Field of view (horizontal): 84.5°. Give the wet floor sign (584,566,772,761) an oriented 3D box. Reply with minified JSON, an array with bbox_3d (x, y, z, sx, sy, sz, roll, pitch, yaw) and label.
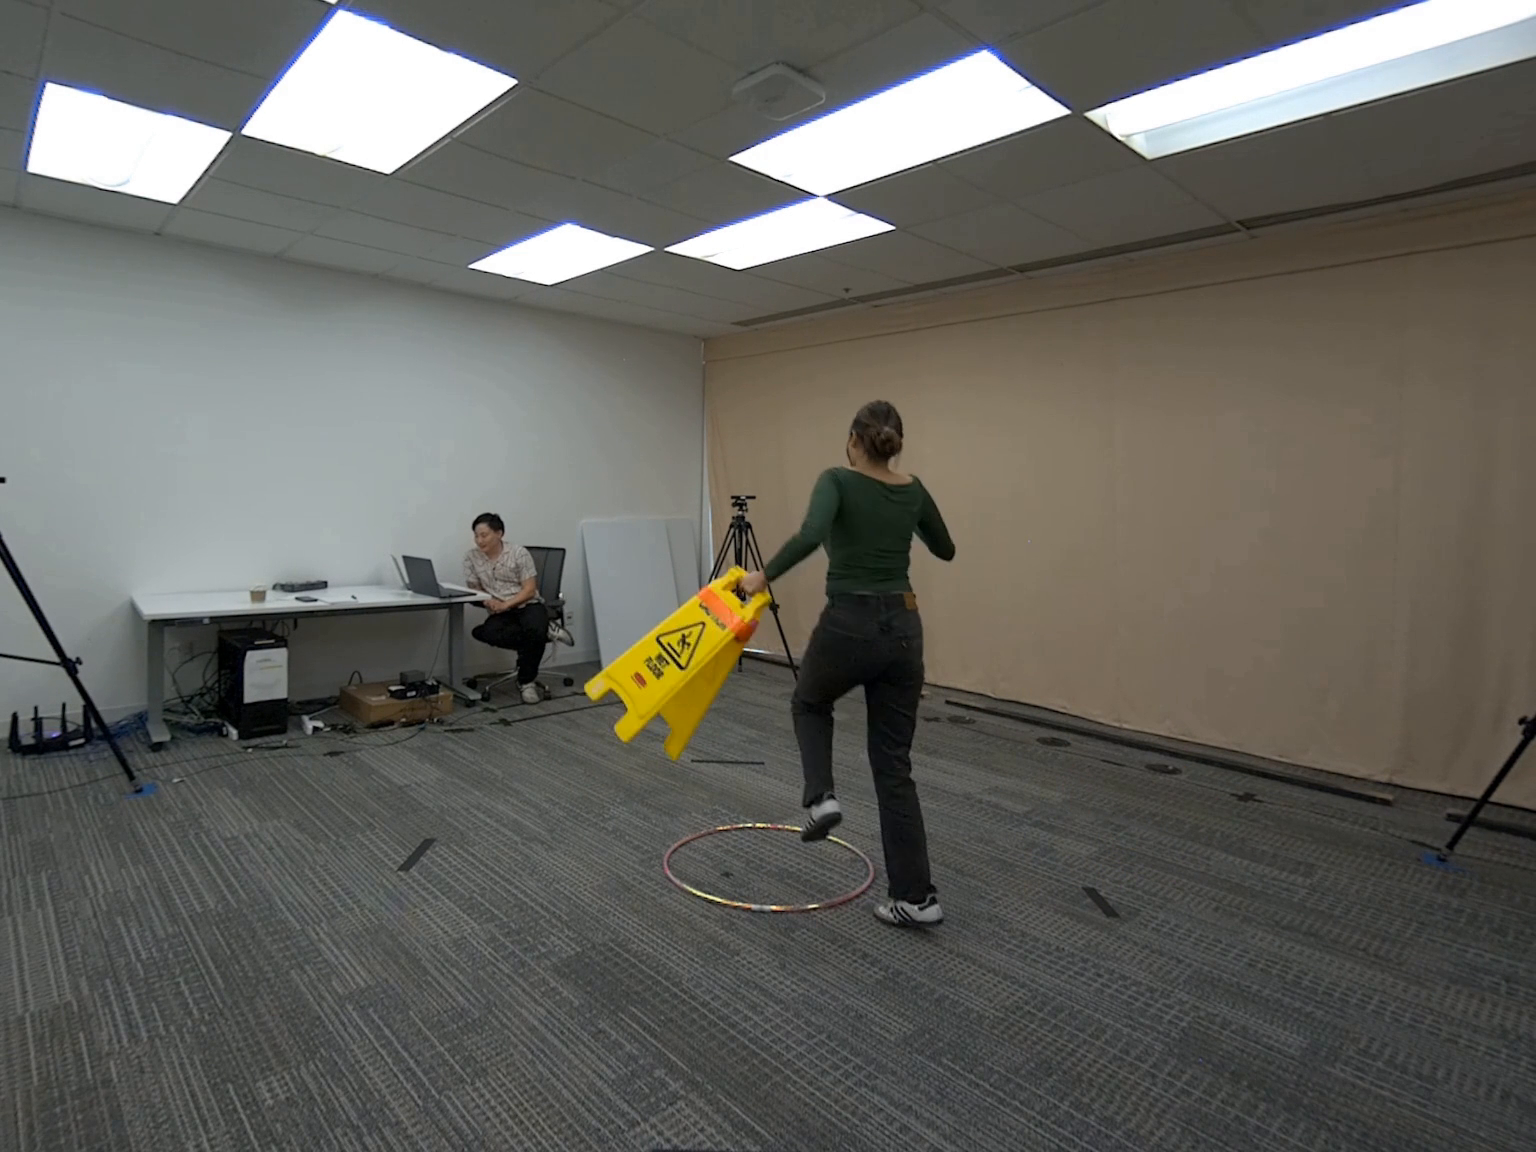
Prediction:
[{"bbox_3d":[-0.216,0.275,2.809,0.291,0.646,0.280,42,1,38],"label":"wet floor sign"}]
